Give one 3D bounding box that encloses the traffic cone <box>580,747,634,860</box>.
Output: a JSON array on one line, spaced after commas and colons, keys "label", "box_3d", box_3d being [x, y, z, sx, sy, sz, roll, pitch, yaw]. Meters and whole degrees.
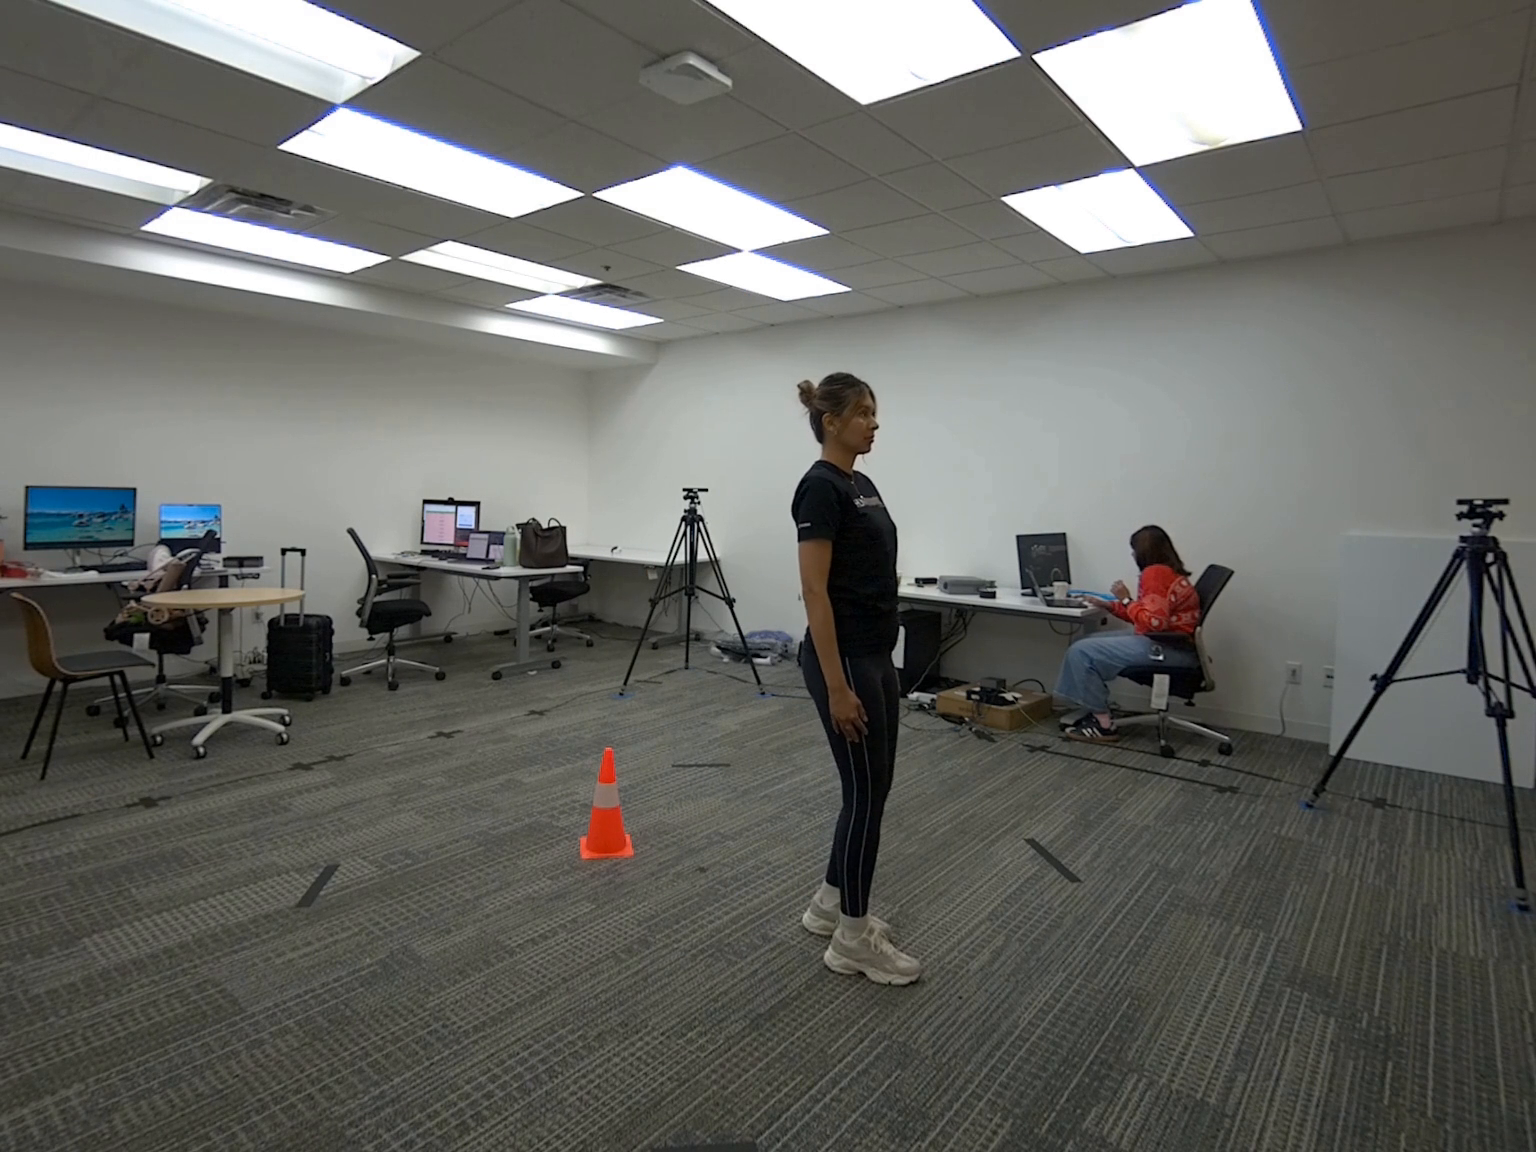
[{"label": "traffic cone", "box_3d": [-0.631, 0.859, 3.285, 0.202, 0.382, 0.206, 1, 4, -12]}]
